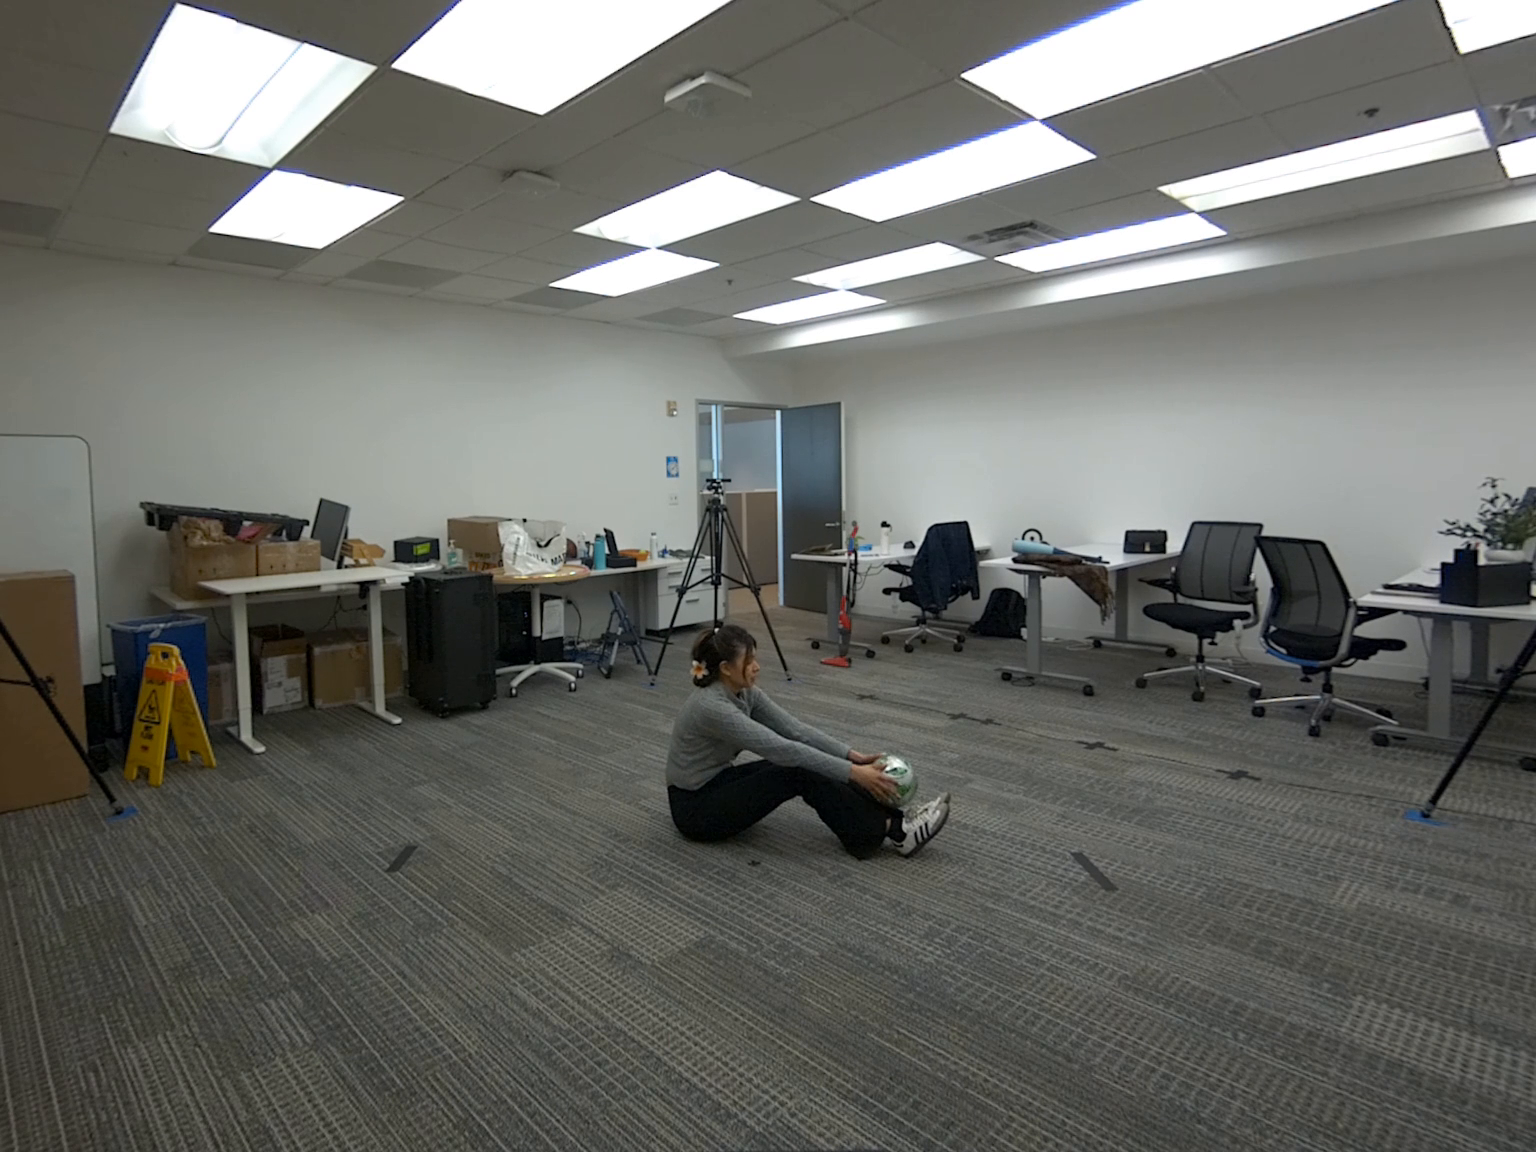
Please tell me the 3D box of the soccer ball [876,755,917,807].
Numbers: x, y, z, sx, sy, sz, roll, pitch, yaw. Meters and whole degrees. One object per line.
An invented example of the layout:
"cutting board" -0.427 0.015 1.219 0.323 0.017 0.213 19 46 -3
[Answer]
"soccer ball" 0.455 0.760 3.195 0.187 0.187 0.188 -1 5 -2
